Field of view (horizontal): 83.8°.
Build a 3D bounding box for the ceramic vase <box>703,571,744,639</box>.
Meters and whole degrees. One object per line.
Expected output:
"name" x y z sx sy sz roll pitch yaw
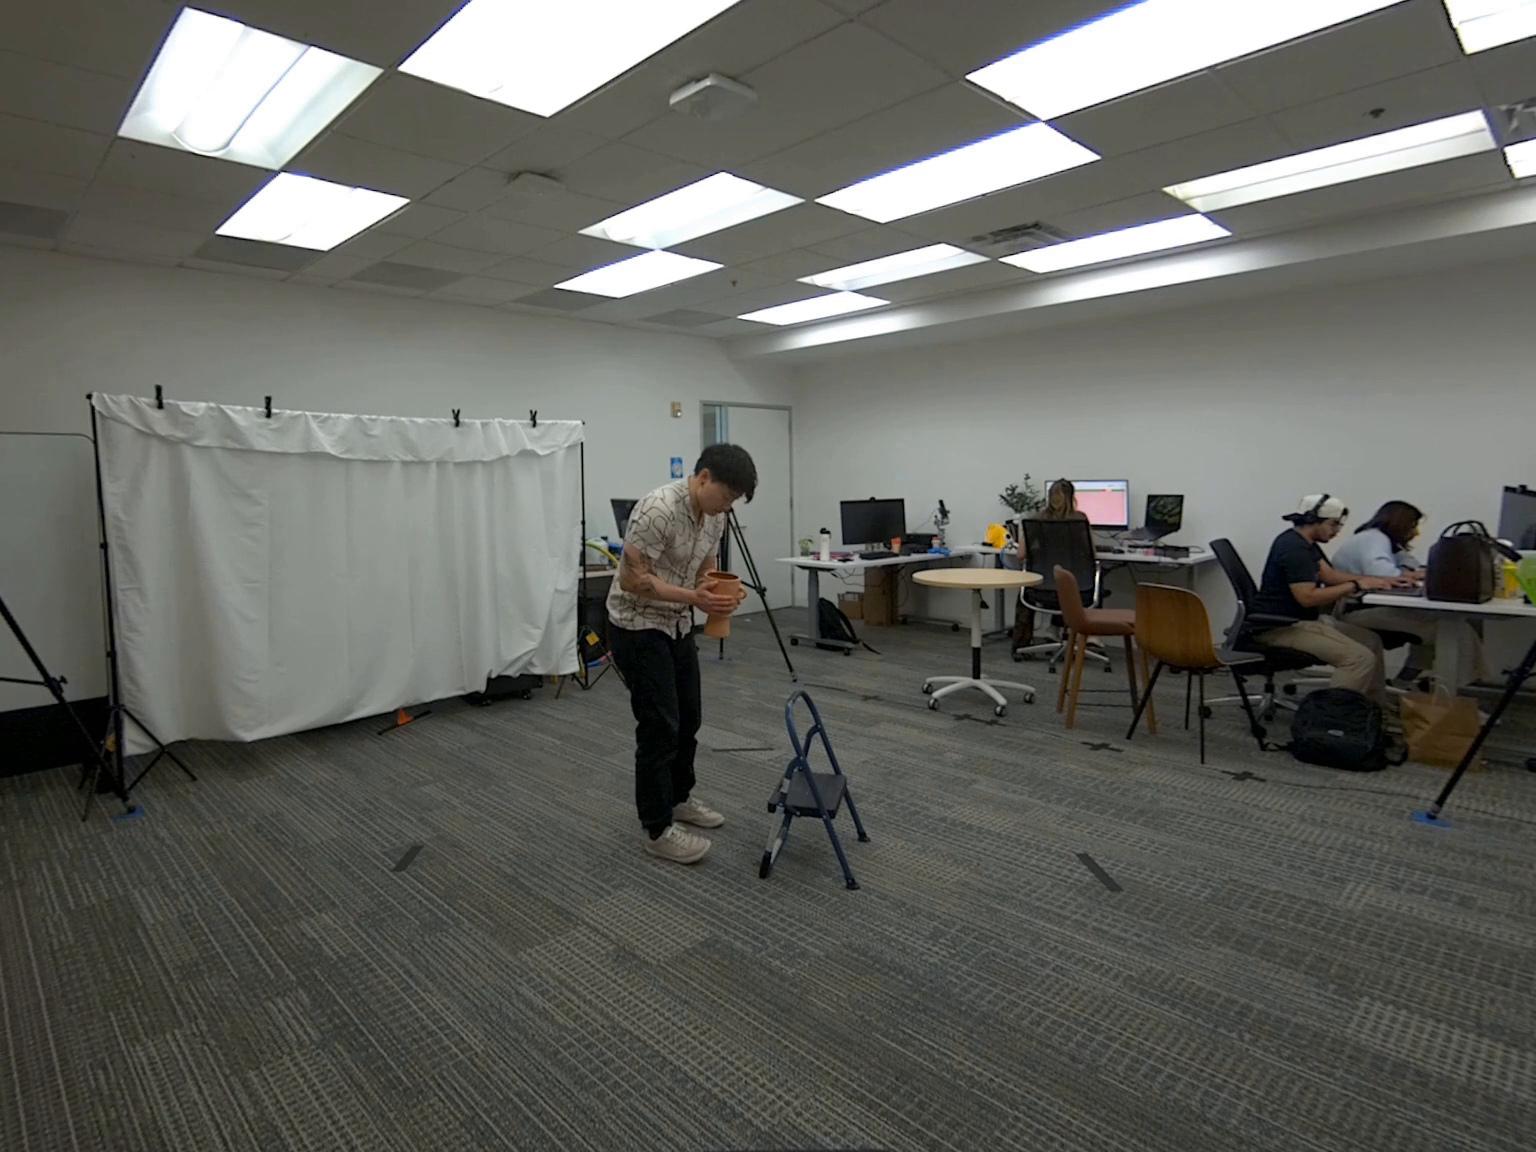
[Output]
"ceramic vase" -0.187 0.105 3.119 0.131 0.218 0.164 1 11 -33
